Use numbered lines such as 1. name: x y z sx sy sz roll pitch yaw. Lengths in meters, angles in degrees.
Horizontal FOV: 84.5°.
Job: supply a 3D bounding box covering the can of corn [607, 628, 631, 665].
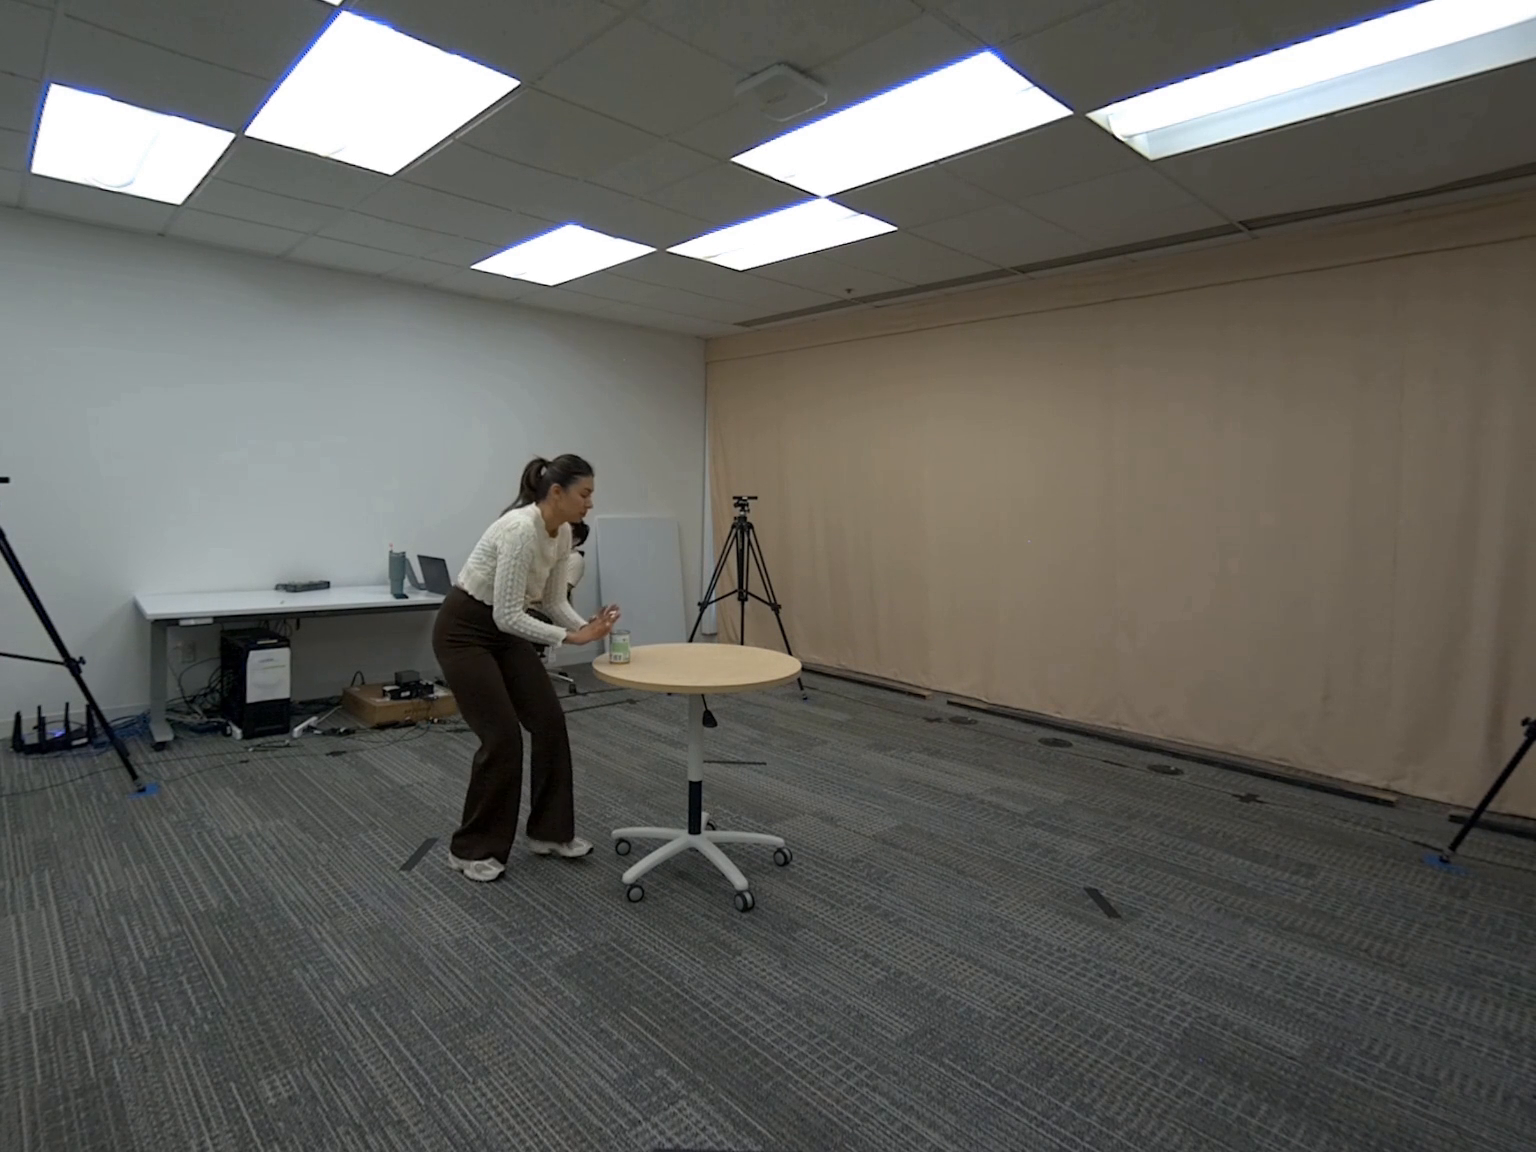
1. can of corn: -0.551 0.261 3.056 0.074 0.111 0.074 -1 5 -1
